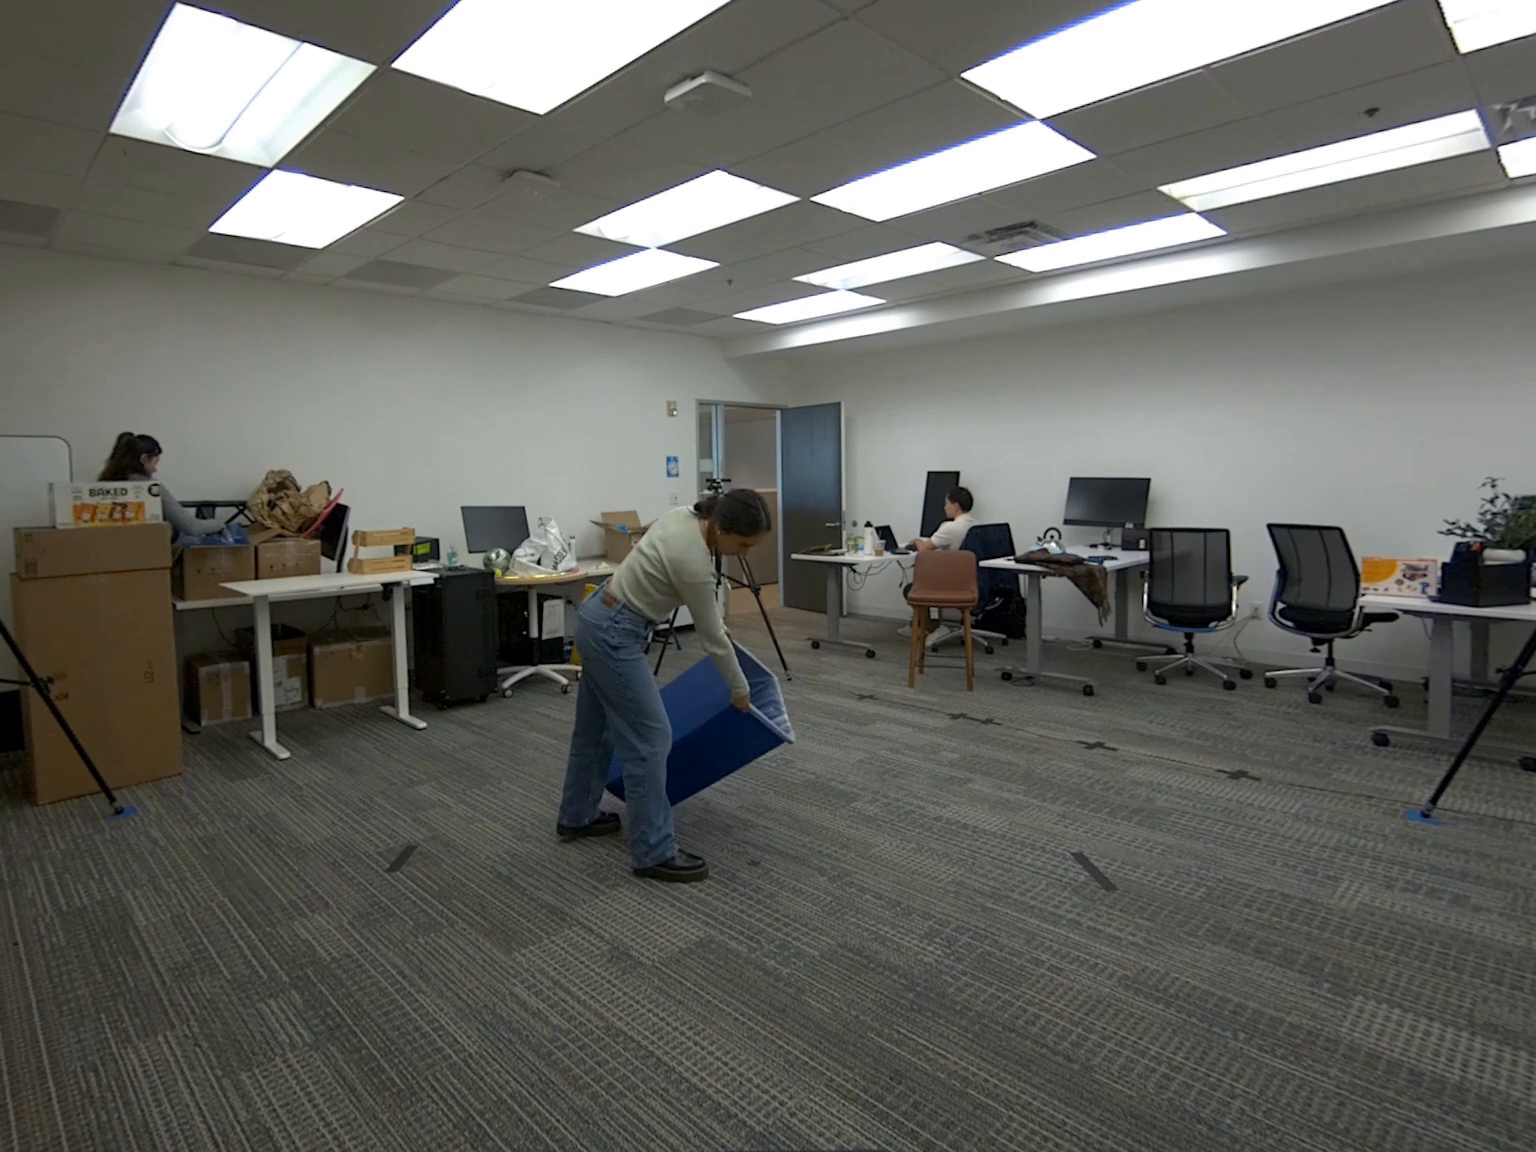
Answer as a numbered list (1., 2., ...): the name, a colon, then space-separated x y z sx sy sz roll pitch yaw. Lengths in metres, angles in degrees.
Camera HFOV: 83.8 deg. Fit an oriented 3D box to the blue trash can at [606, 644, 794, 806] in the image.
1. blue trash can: -0.307 0.637 3.476 0.716 0.360 0.391 -35 38 13
